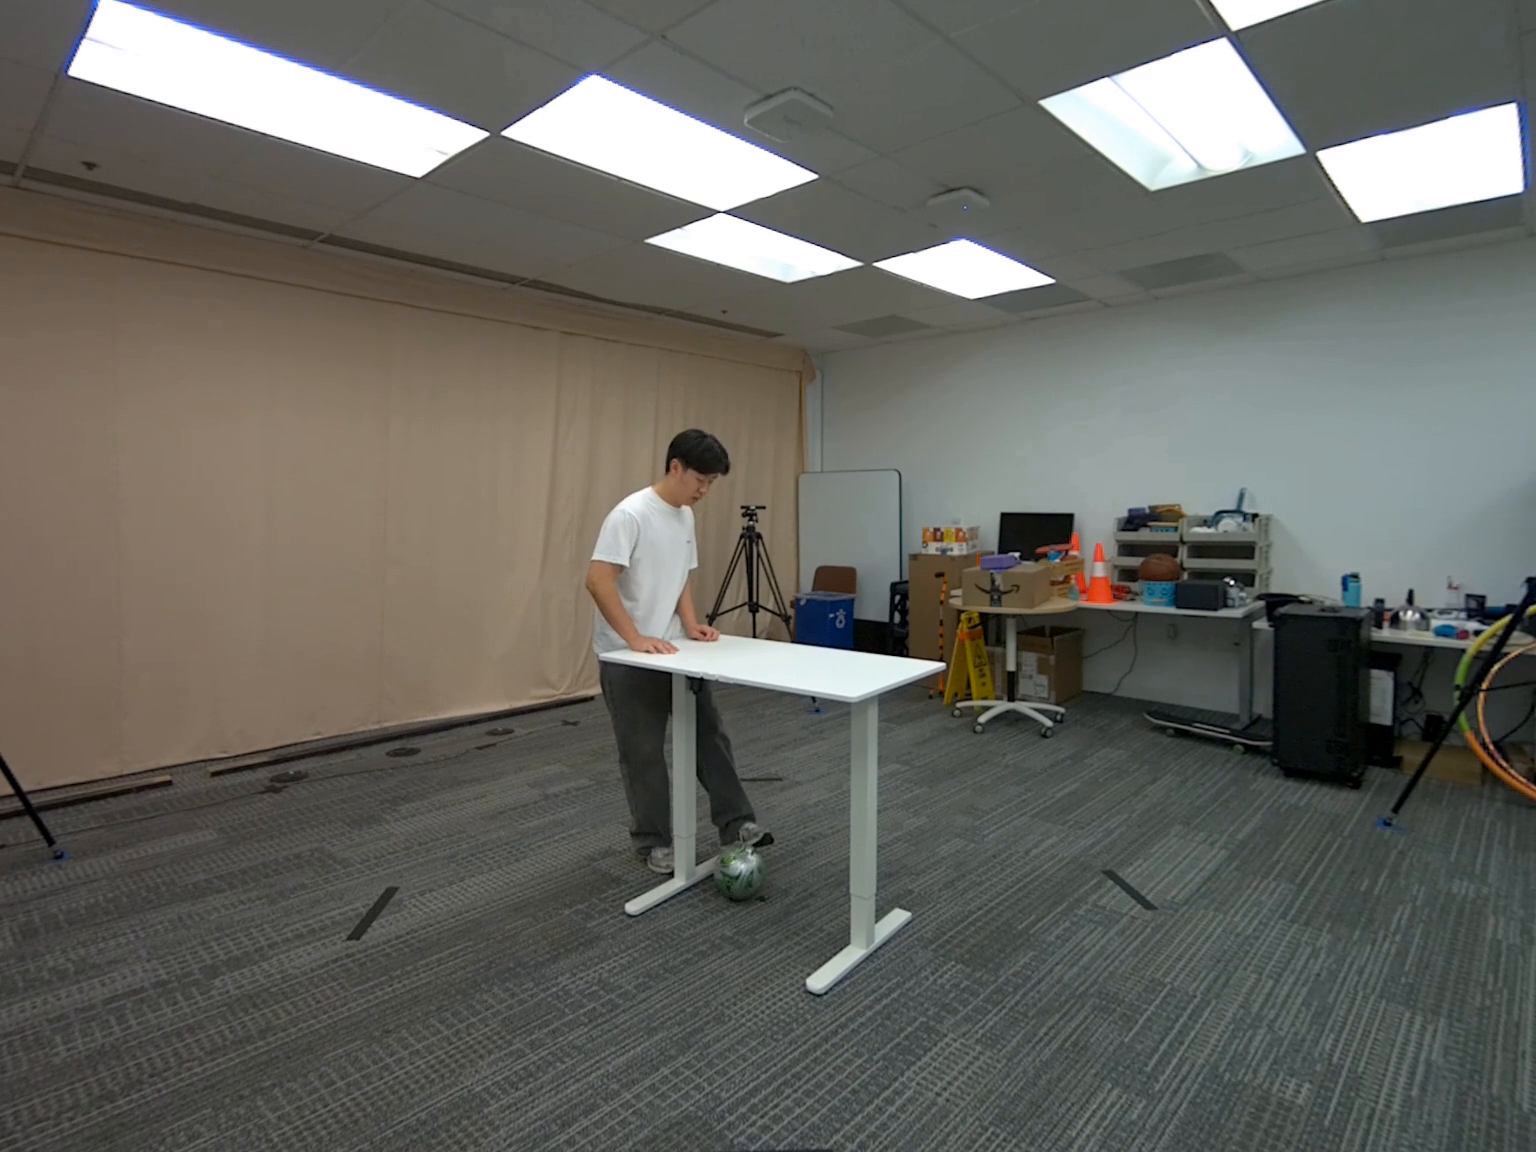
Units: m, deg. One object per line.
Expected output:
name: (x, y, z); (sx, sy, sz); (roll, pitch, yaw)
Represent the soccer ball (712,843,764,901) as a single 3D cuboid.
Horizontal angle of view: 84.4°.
soccer ball: (-0.098, 1.044, 2.993); (0.187, 0.187, 0.188); (0, 4, -2)
